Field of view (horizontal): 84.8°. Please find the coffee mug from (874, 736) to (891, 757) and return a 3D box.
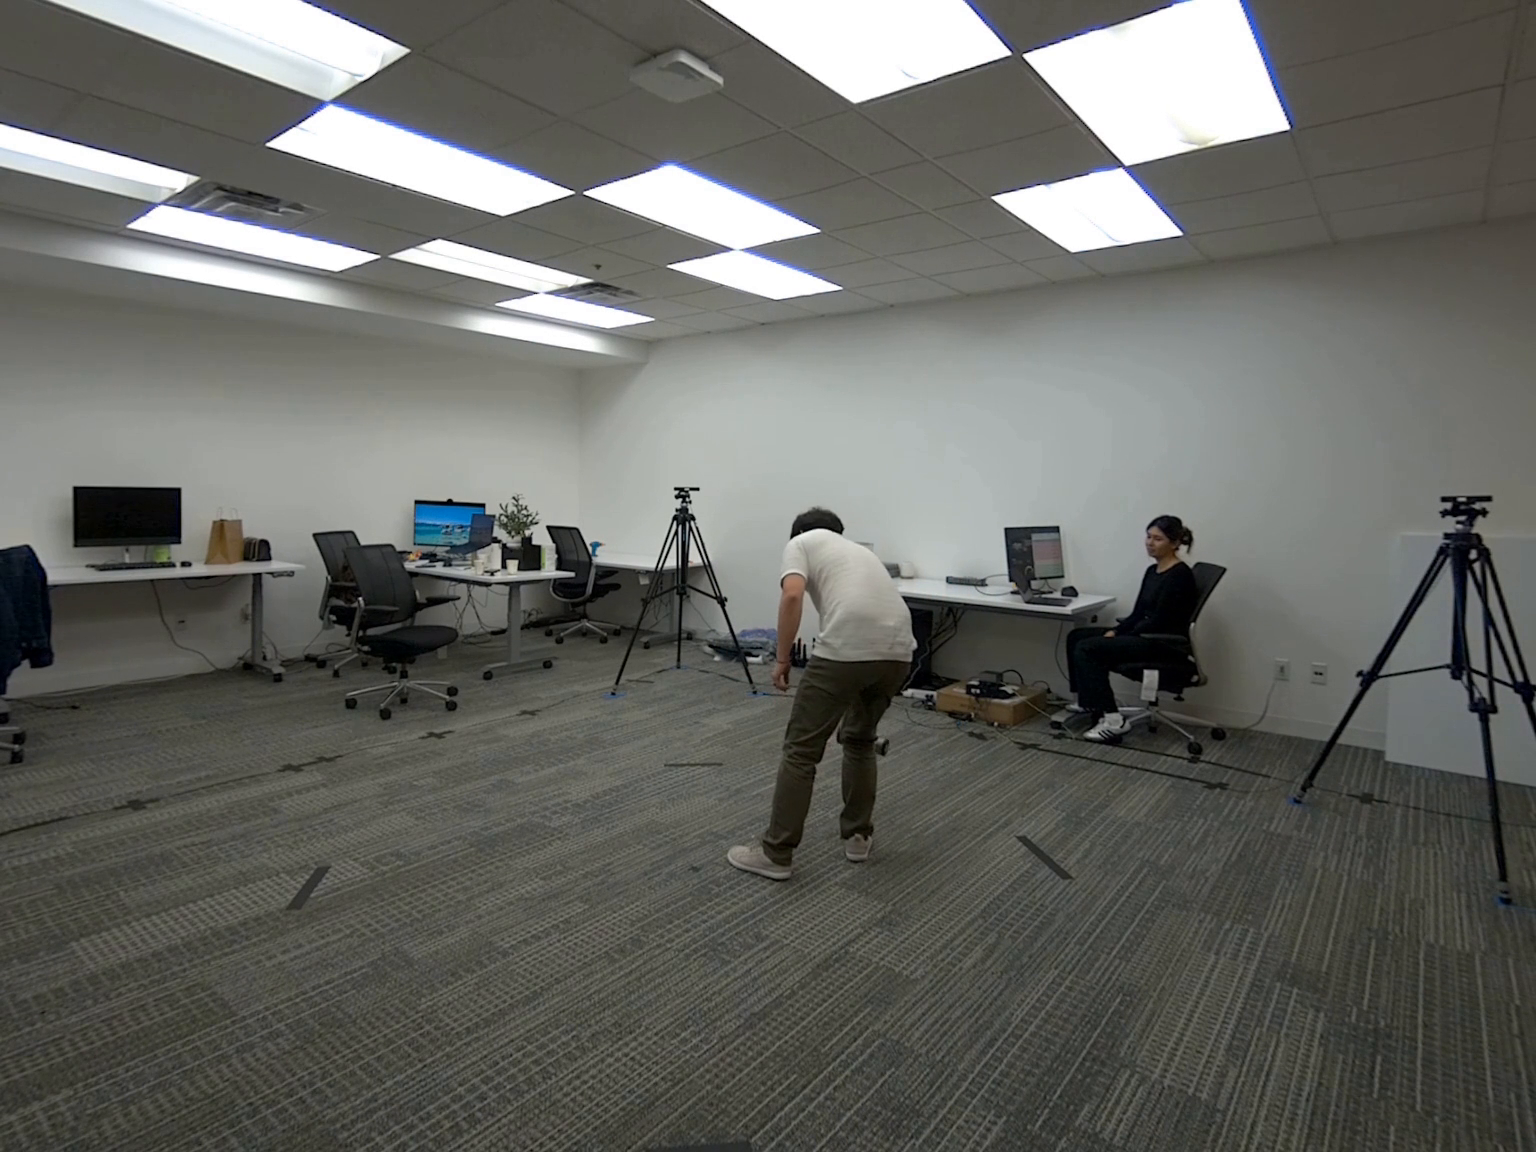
[{"bbox_3d":[0.386,0.657,3.510,0.209,0.120,0.086,9,16,30],"label":"coffee mug"}]
